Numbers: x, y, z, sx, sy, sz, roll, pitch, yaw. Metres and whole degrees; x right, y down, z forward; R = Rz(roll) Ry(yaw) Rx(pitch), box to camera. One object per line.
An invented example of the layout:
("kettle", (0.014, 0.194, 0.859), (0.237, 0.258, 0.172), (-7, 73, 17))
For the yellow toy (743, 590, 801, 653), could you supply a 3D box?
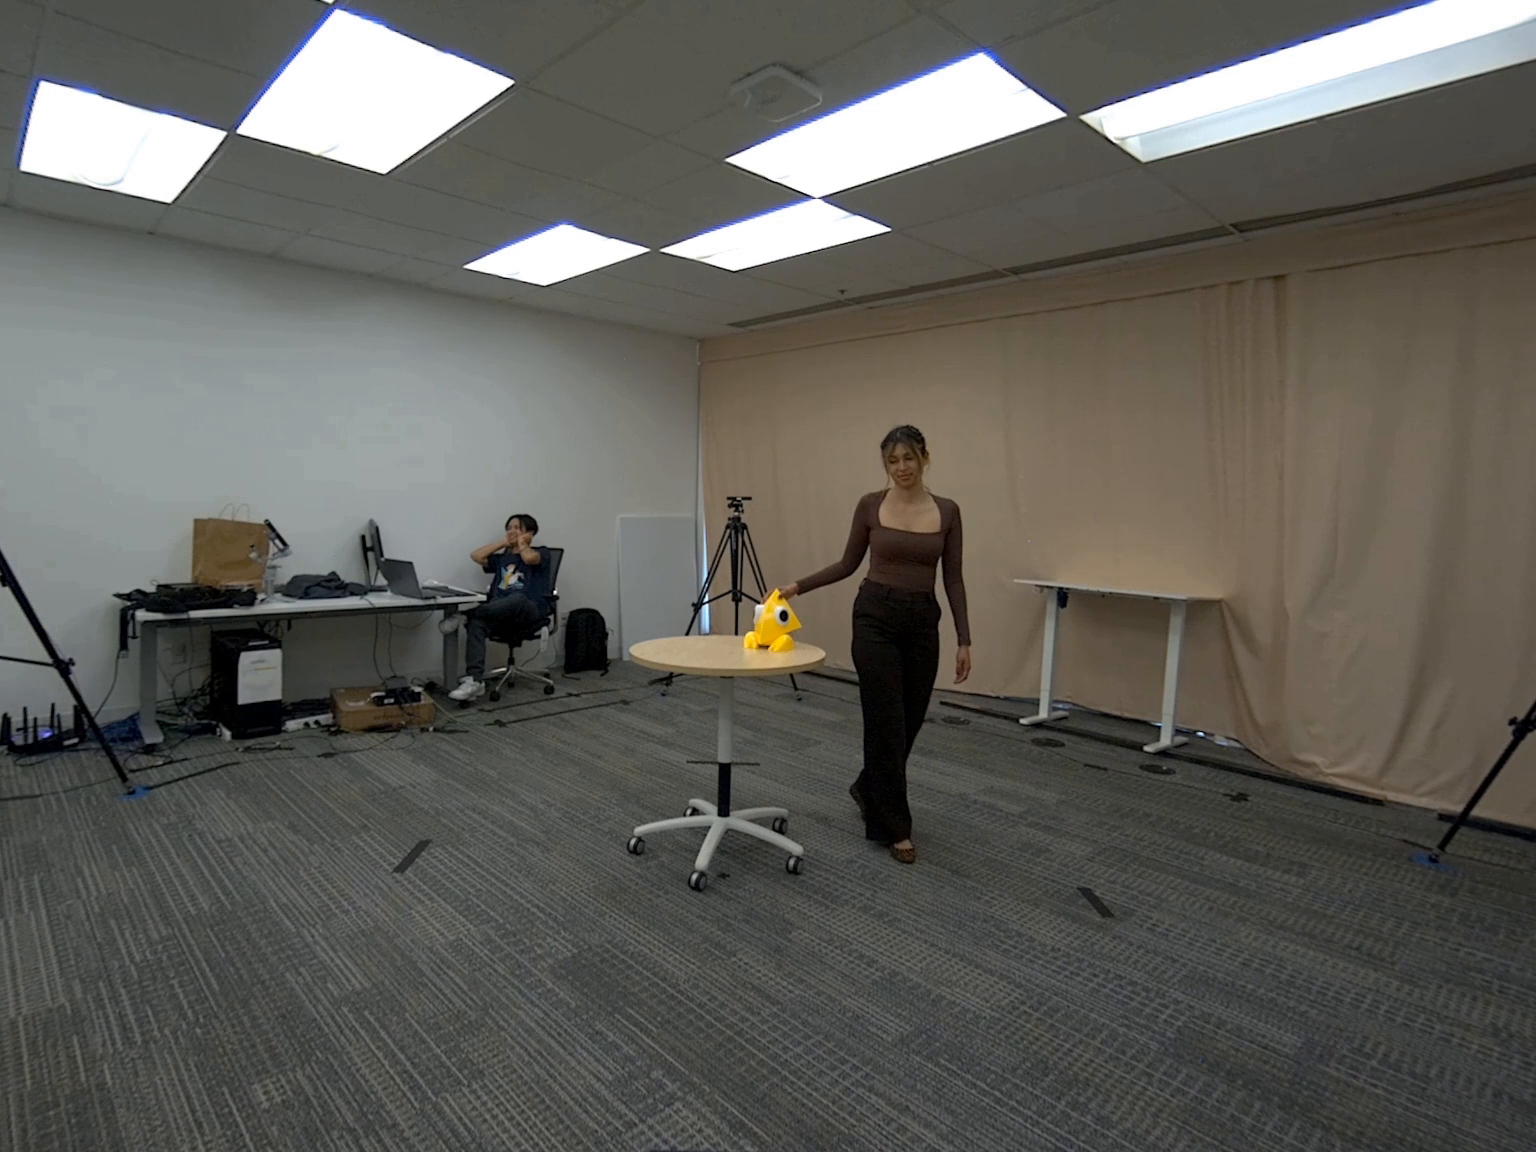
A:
("yellow toy", (-0.003, 0.173, 3.396), (0.209, 0.230, 0.190), (3, 4, 25))
